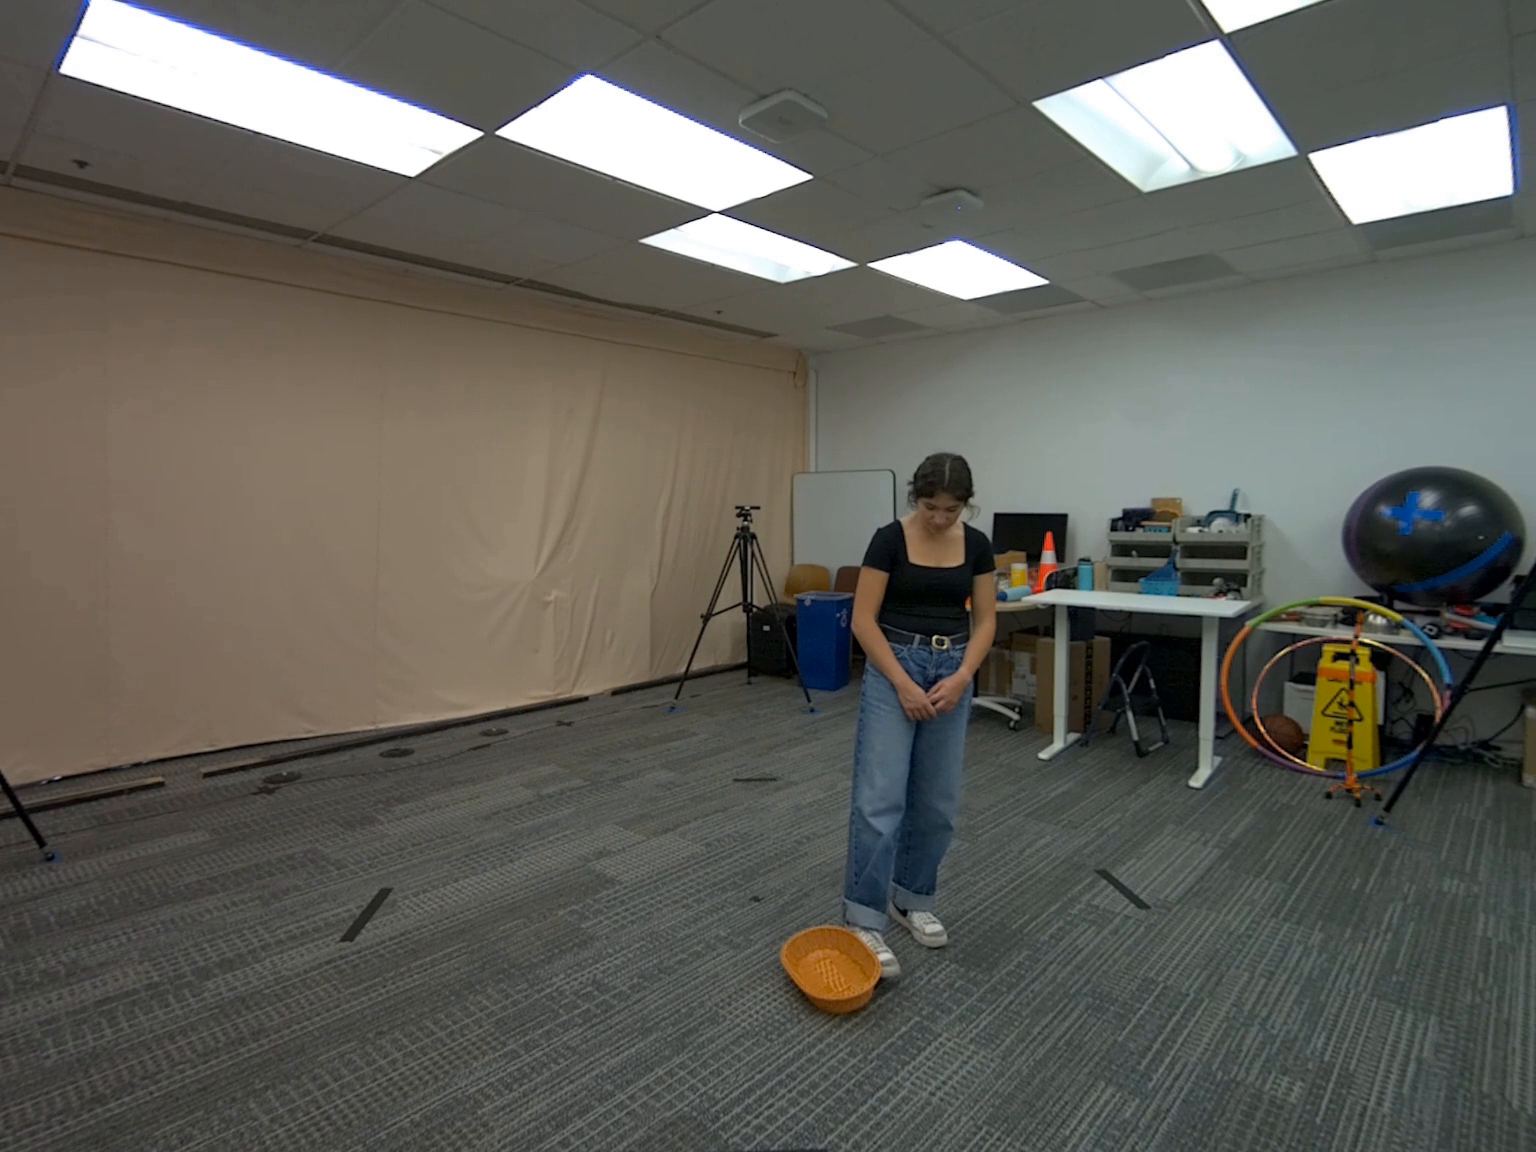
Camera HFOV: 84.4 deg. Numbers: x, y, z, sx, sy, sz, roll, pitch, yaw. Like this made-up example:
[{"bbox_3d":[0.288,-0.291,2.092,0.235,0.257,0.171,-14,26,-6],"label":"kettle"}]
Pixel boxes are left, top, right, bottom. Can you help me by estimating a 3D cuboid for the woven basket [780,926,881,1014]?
[{"bbox_3d":[0.183,1.141,2.427,0.249,0.073,0.358,-12,10,-17],"label":"woven basket"}]
